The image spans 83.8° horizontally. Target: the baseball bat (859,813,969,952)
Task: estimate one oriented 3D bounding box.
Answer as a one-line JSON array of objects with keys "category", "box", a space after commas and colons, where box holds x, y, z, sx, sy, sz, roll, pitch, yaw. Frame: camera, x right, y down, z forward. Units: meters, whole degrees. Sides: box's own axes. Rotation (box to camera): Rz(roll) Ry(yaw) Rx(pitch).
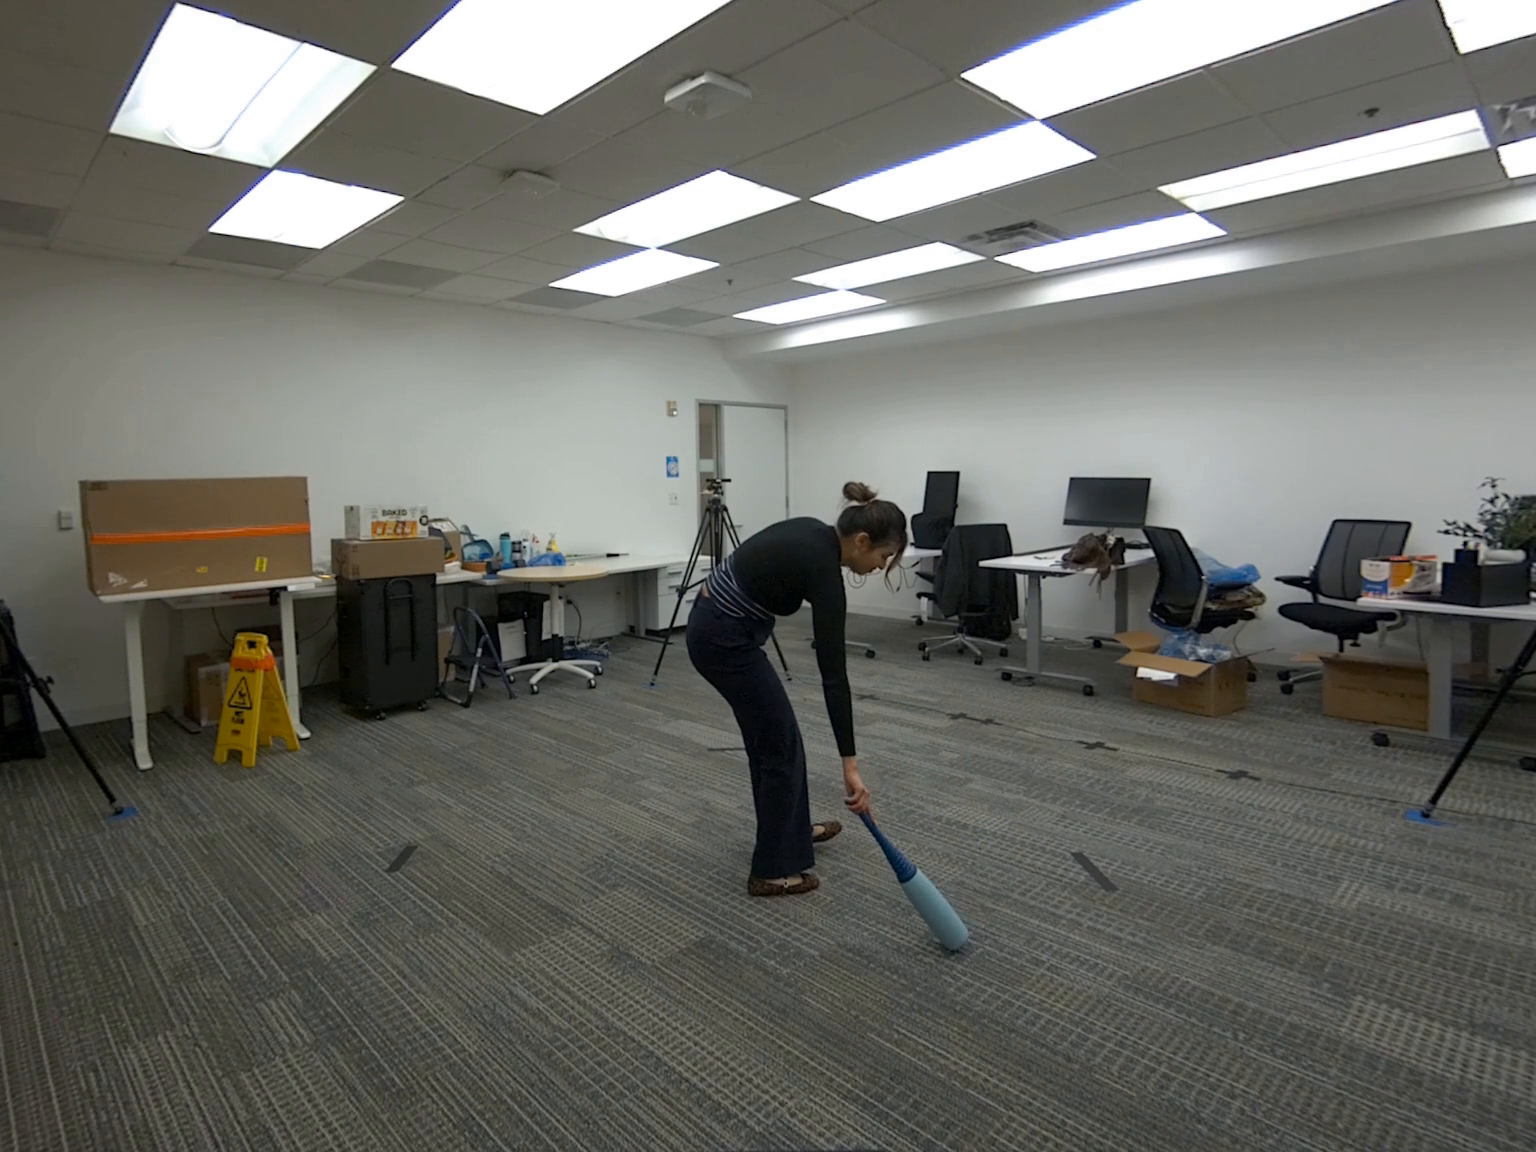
[{"category": "baseball bat", "box": [0.407, 0.868, 2.525, 0.089, 0.542, 0.089, -37, 1, 0]}]
